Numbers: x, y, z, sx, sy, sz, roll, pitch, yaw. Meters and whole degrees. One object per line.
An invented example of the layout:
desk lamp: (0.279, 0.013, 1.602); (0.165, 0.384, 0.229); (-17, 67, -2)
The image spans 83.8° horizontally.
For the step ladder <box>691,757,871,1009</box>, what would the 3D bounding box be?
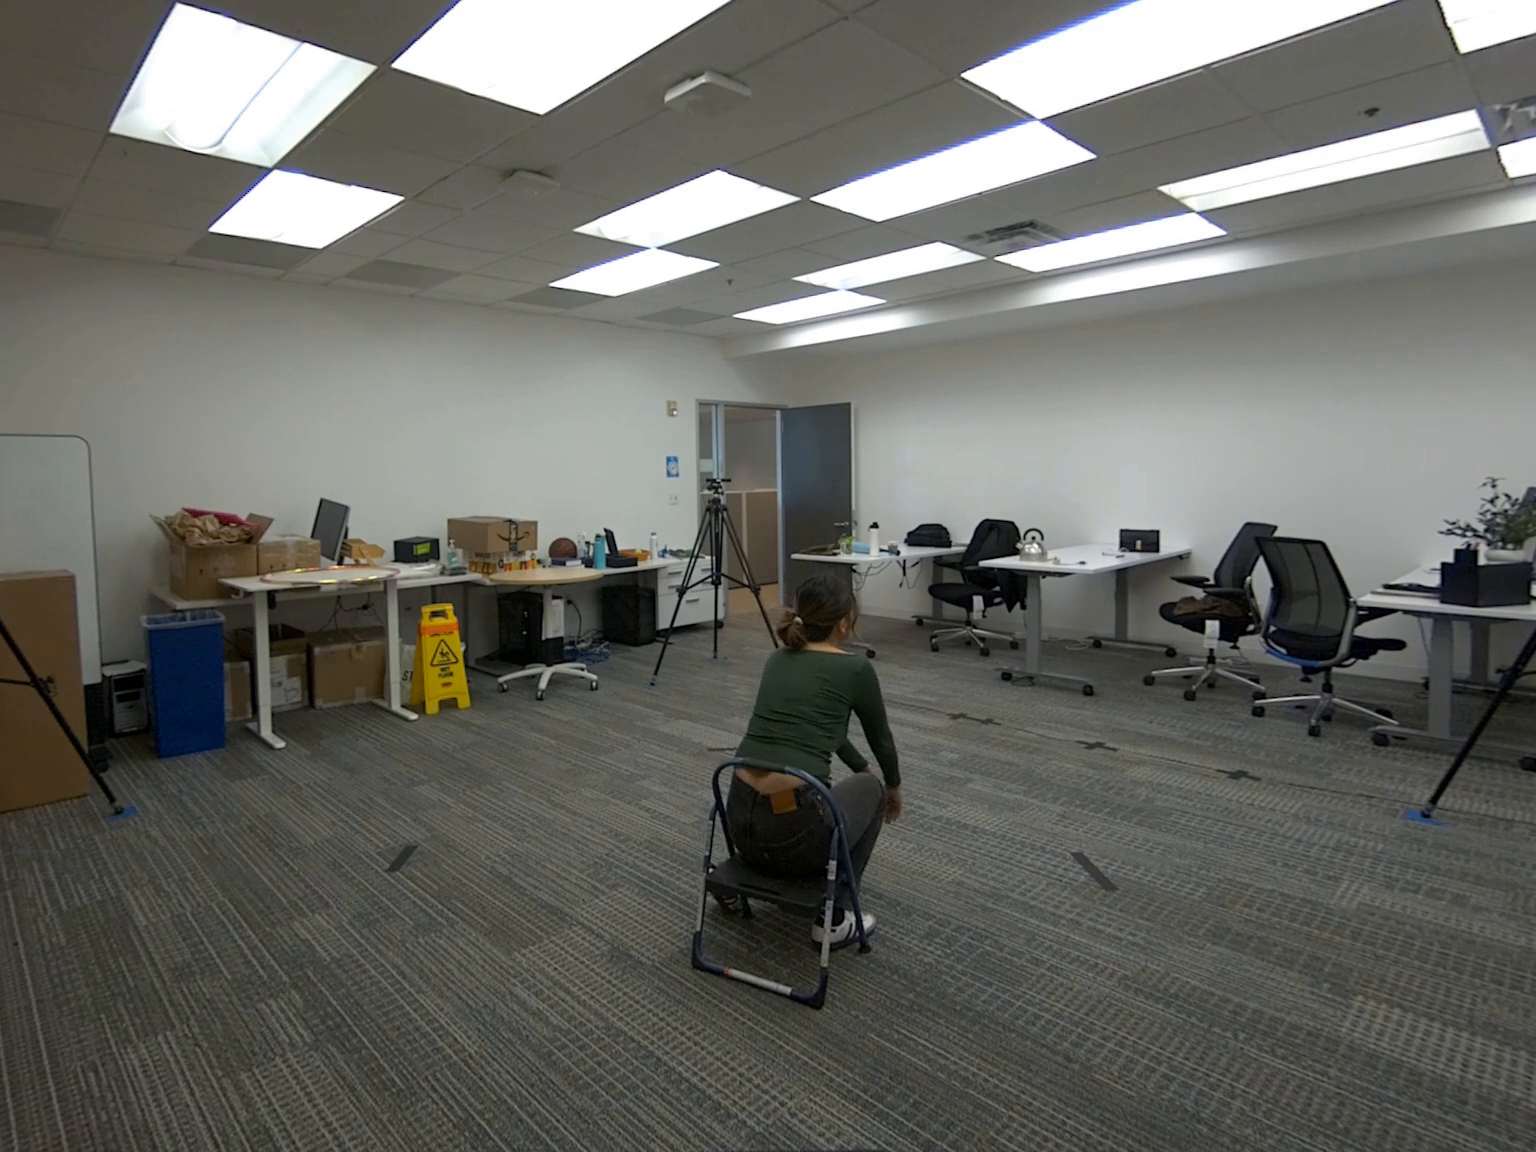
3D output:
step ladder: (0.033, 0.820, 2.471); (0.442, 0.604, 0.342); (1, 5, 29)
